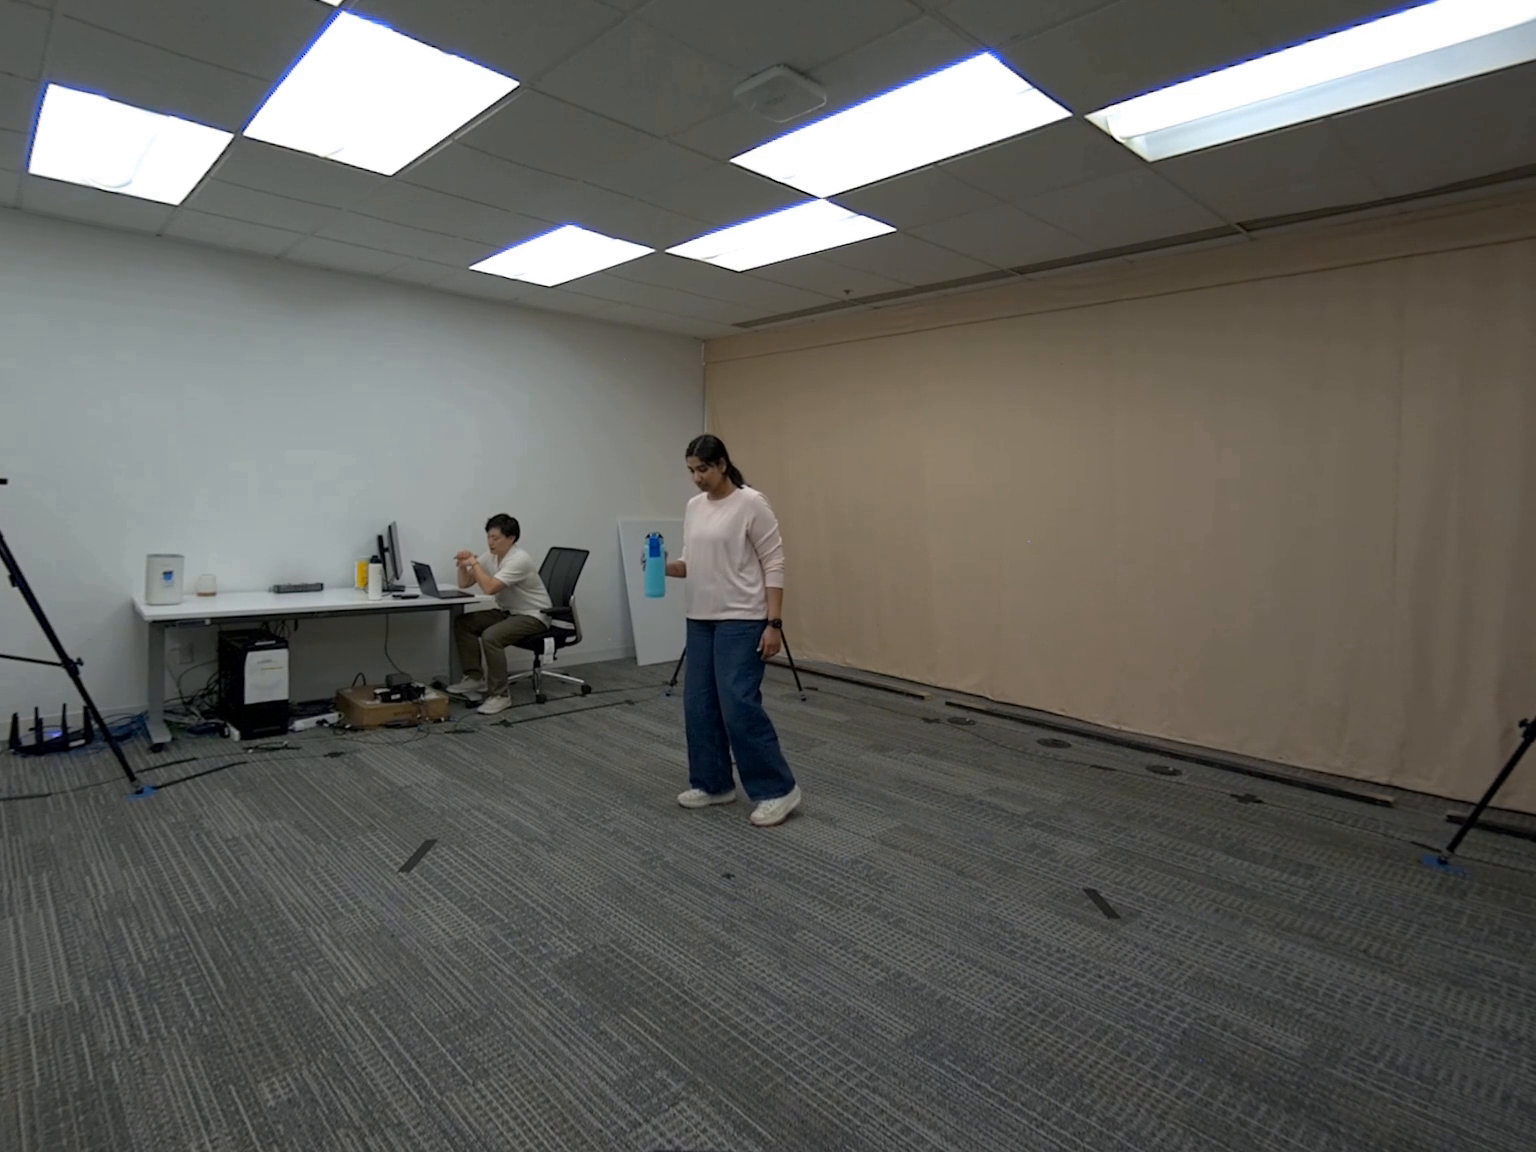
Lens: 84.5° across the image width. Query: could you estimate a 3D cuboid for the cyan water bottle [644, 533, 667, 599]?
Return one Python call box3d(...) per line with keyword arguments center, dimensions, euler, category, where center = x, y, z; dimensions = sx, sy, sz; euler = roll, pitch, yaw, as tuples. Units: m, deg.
box3d(center=(-0.494, -0.052, 3.656), dimensions=(0.092, 0.282, 0.093), euler=(-1, 7, -1), category="cyan water bottle")
